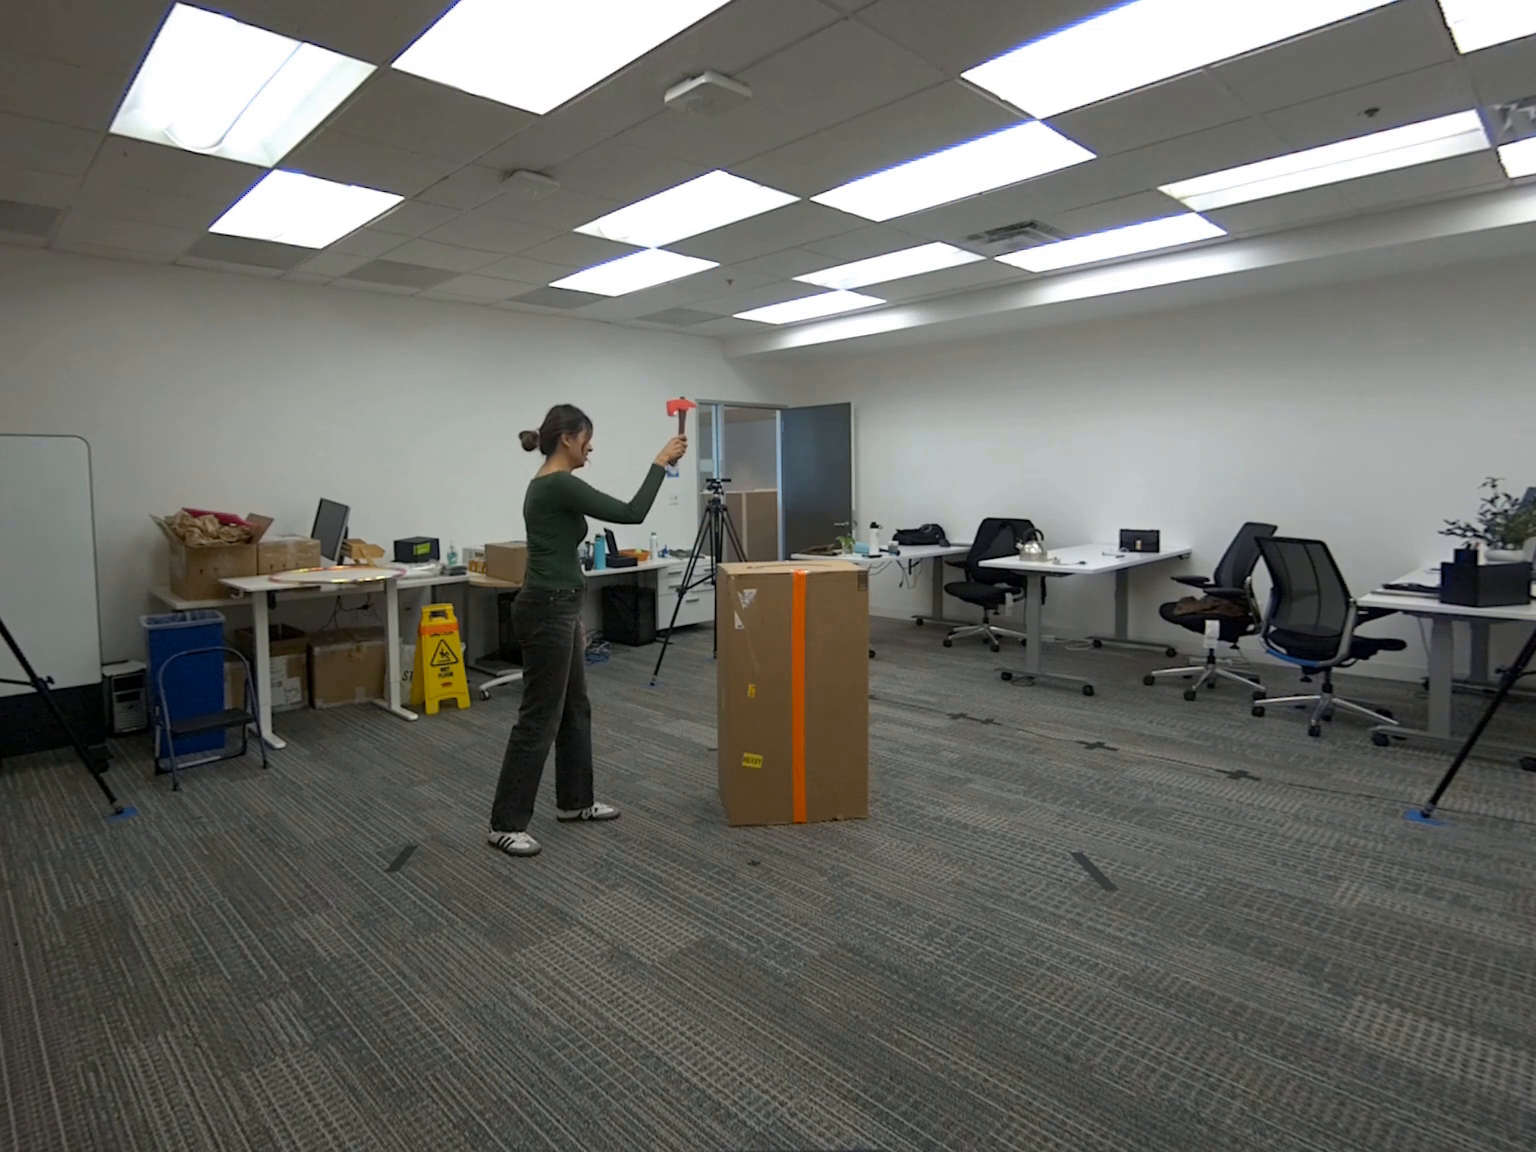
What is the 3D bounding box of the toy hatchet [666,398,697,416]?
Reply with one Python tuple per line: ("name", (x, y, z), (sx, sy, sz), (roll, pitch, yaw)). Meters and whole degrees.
("toy hatchet", (-0.358, -0.557, 3.310), (0.127, 0.271, 0.030), (24, -9, -25))
